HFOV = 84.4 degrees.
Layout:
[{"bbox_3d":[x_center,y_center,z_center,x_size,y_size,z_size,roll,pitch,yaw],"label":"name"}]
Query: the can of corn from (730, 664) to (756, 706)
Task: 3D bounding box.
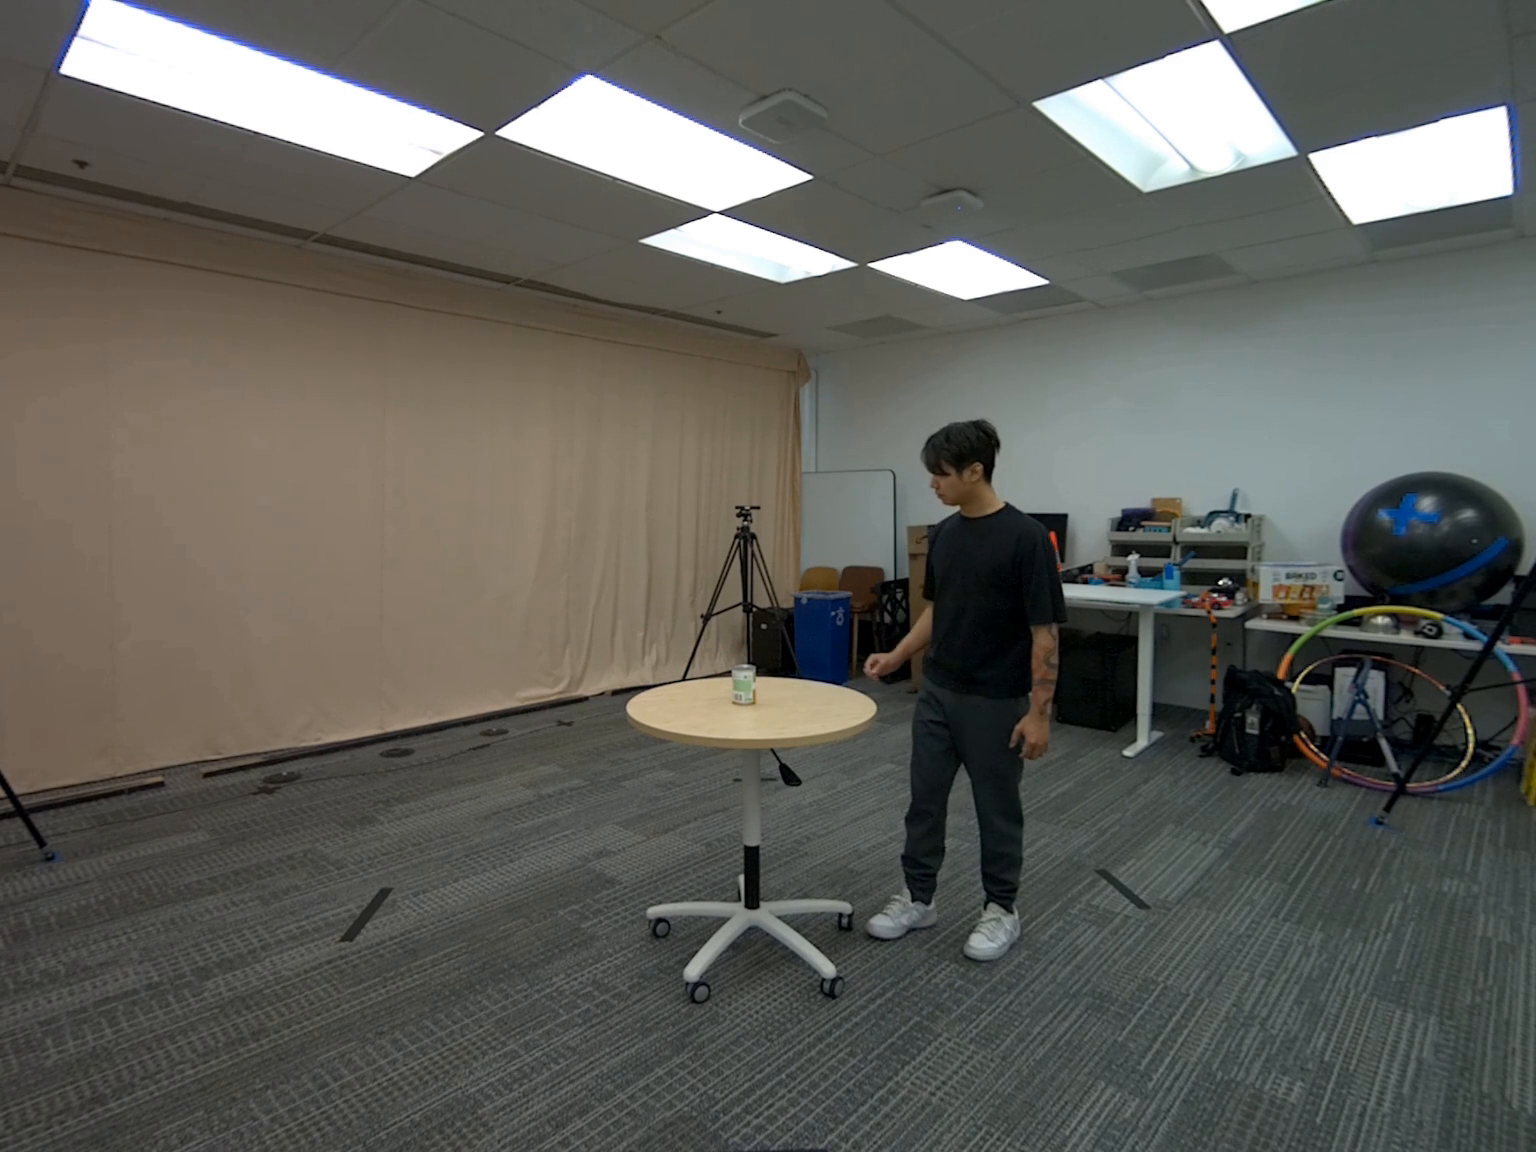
[{"bbox_3d":[-0.066,0.343,2.601,0.074,0.111,0.074,0,5,-2],"label":"can of corn"}]
